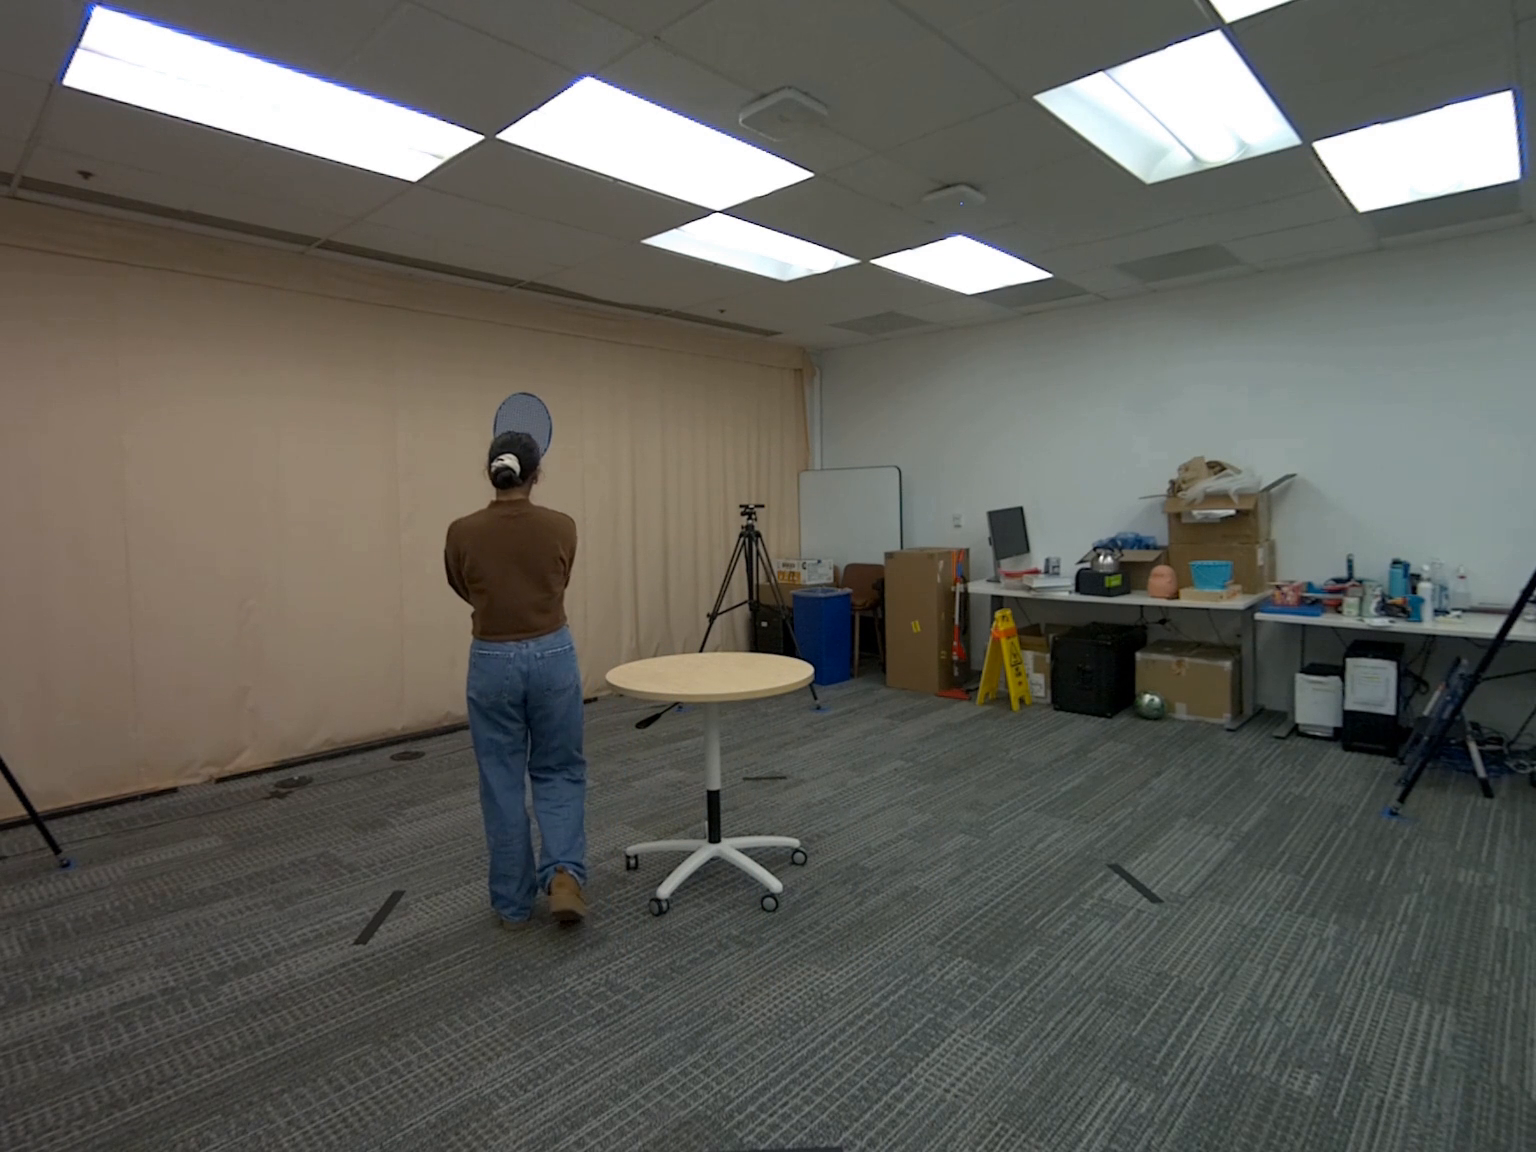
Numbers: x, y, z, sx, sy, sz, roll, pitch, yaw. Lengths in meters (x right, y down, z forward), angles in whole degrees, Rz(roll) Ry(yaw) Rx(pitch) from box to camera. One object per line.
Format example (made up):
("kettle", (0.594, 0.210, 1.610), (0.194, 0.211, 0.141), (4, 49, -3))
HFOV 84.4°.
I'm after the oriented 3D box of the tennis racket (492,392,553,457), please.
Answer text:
("tennis racket", (-0.873, -0.441, 2.984), (0.207, 0.434, 0.033), (13, -7, -33))
